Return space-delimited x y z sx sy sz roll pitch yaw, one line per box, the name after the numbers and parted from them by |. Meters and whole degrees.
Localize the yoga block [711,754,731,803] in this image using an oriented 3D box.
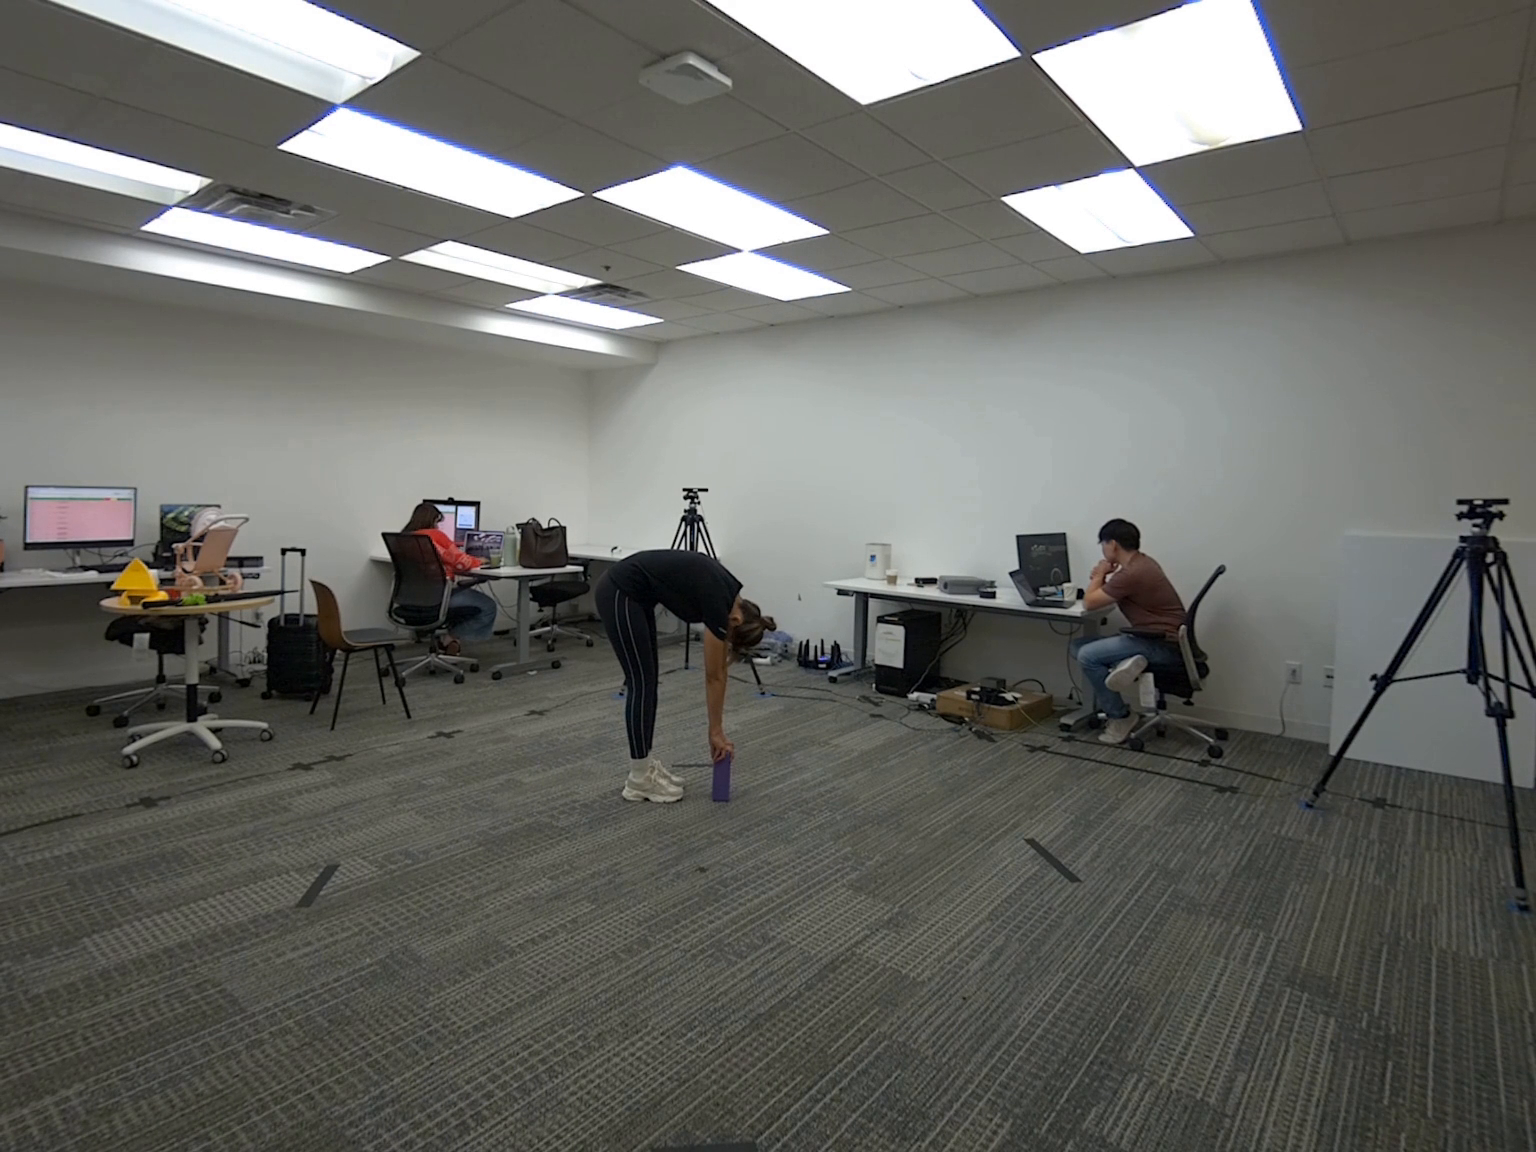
-0.219 0.890 3.857 0.076 0.228 0.150 0 5 -4 | yoga block
